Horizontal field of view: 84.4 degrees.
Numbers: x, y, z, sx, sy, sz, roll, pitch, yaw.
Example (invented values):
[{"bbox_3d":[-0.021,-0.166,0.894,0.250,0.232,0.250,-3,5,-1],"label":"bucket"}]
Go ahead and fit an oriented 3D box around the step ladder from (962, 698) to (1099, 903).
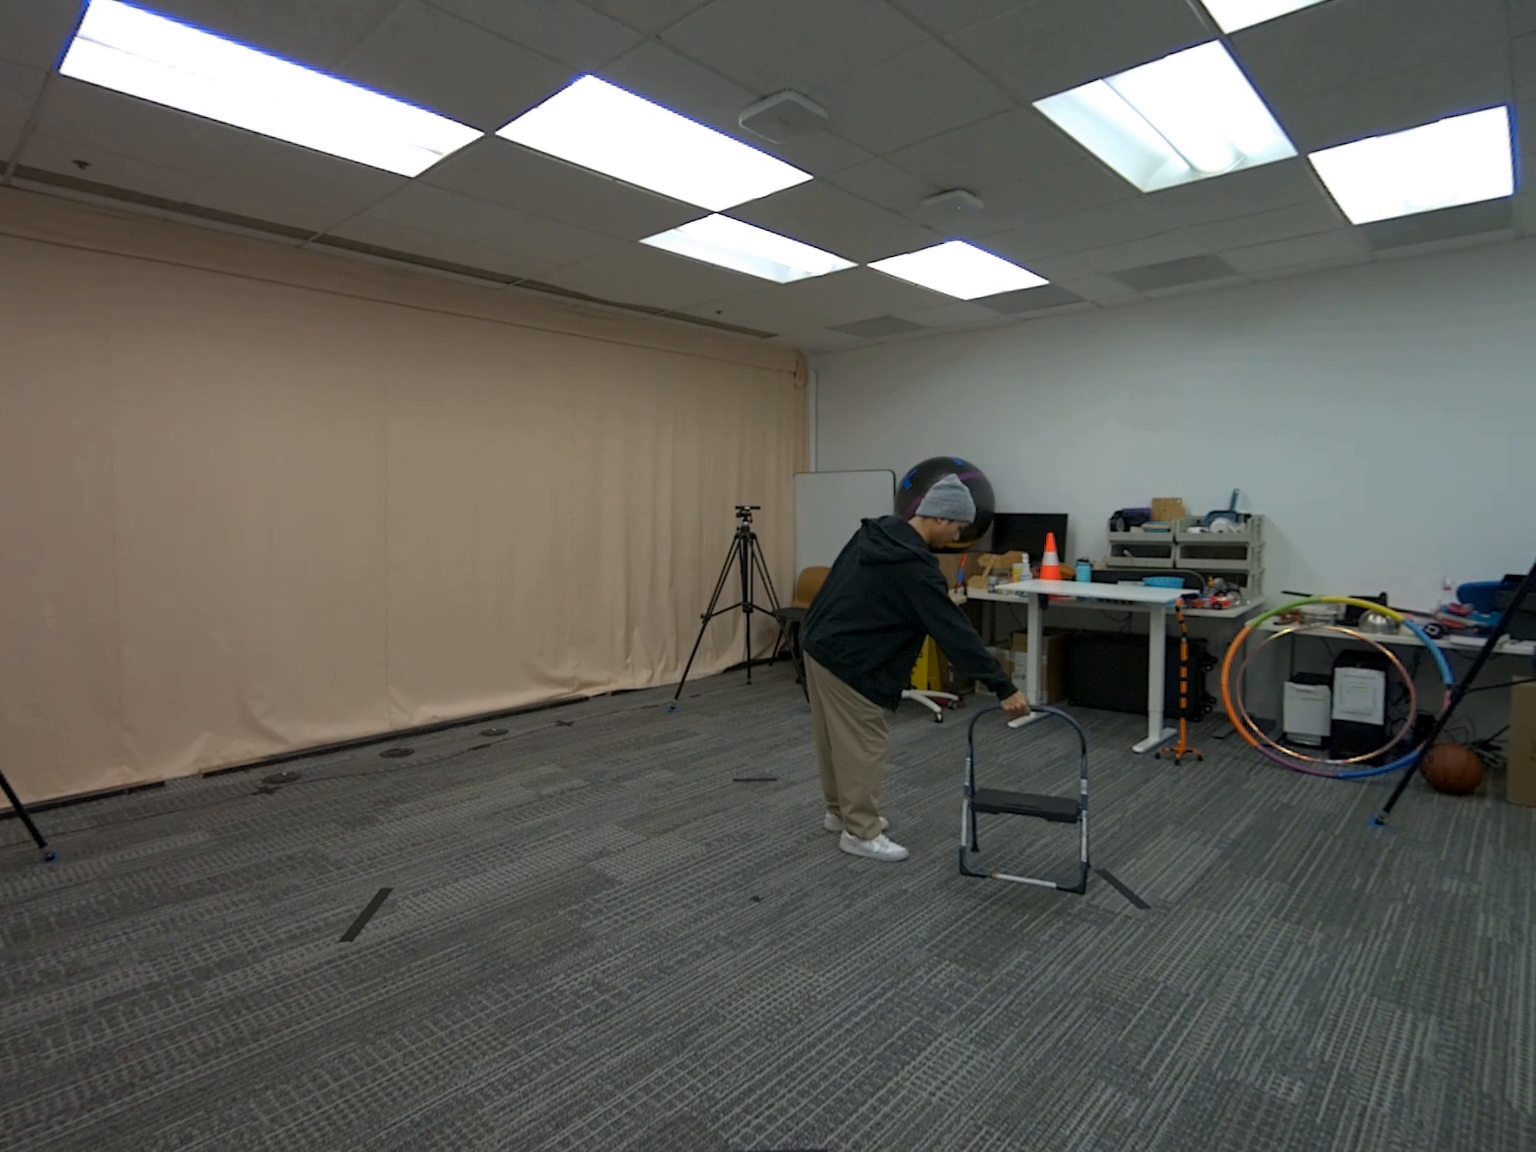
[{"bbox_3d":[0.949,0.775,3.051,0.441,0.607,0.340,-1,-3,23],"label":"step ladder"}]
